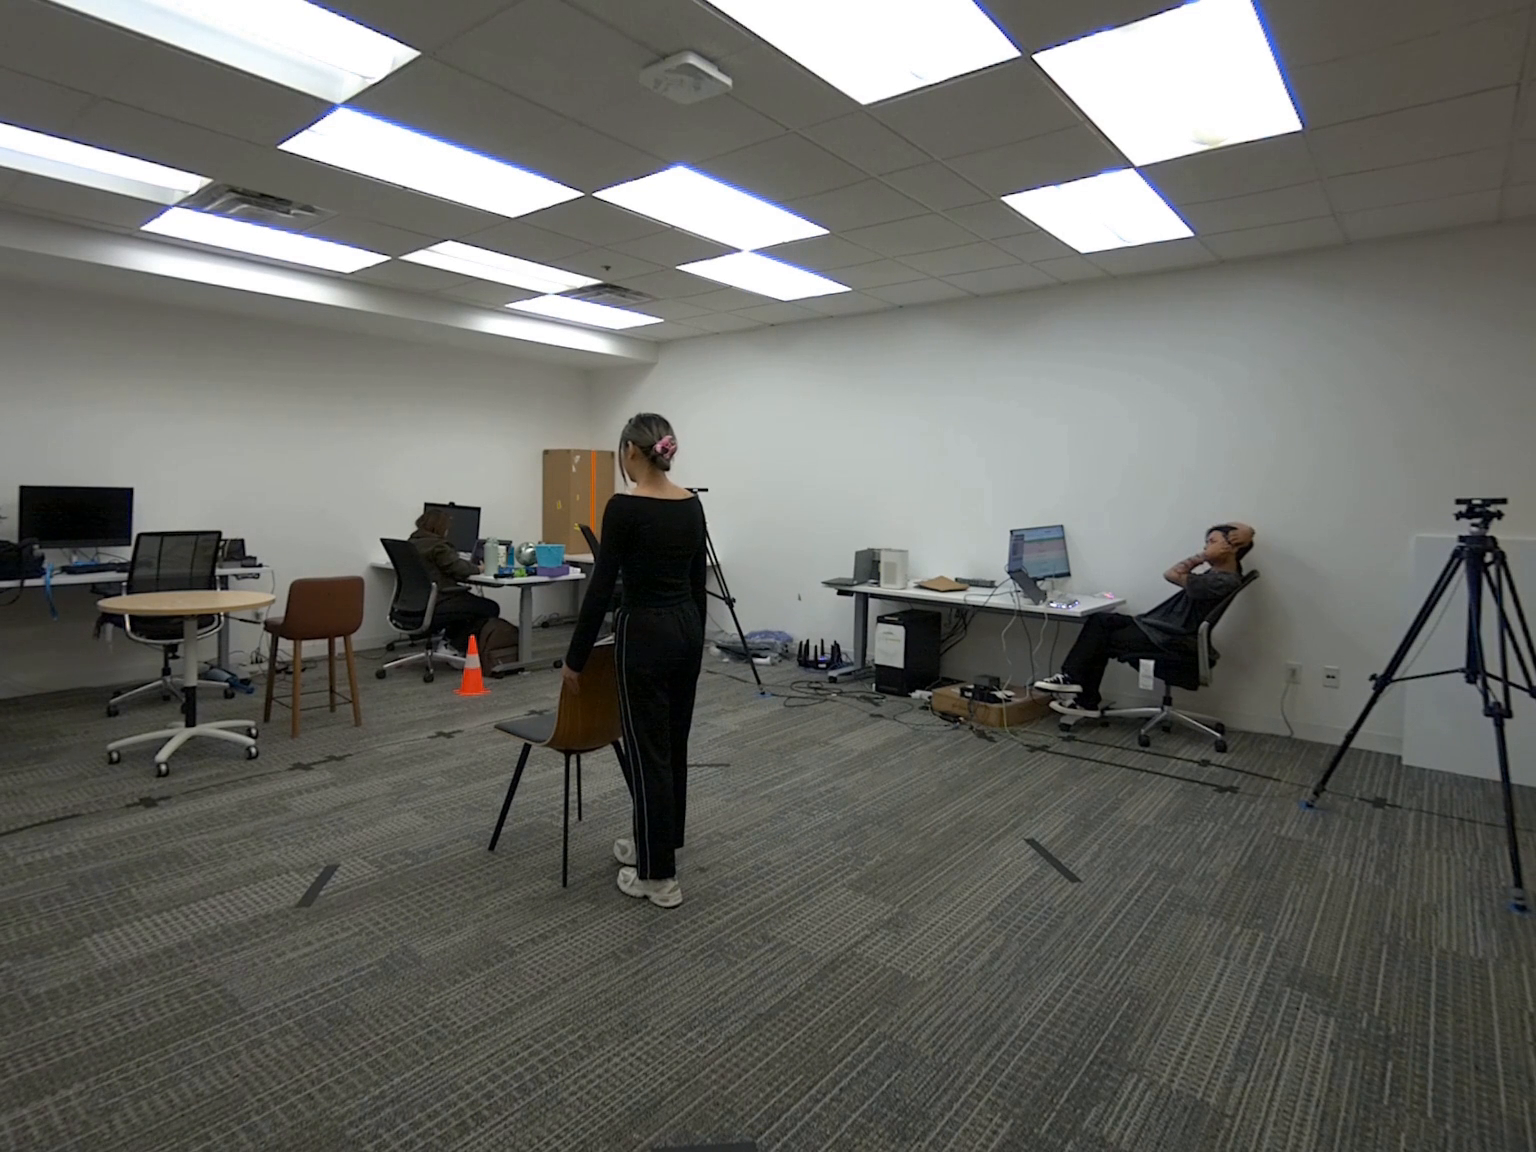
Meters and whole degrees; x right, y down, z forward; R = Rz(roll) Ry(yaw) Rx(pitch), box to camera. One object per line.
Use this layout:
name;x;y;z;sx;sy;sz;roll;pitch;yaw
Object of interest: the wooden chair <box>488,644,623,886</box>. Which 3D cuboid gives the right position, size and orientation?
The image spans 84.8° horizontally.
wooden chair;-0.761;0.622;3.234;0.542;0.873;0.464;10;8;39
